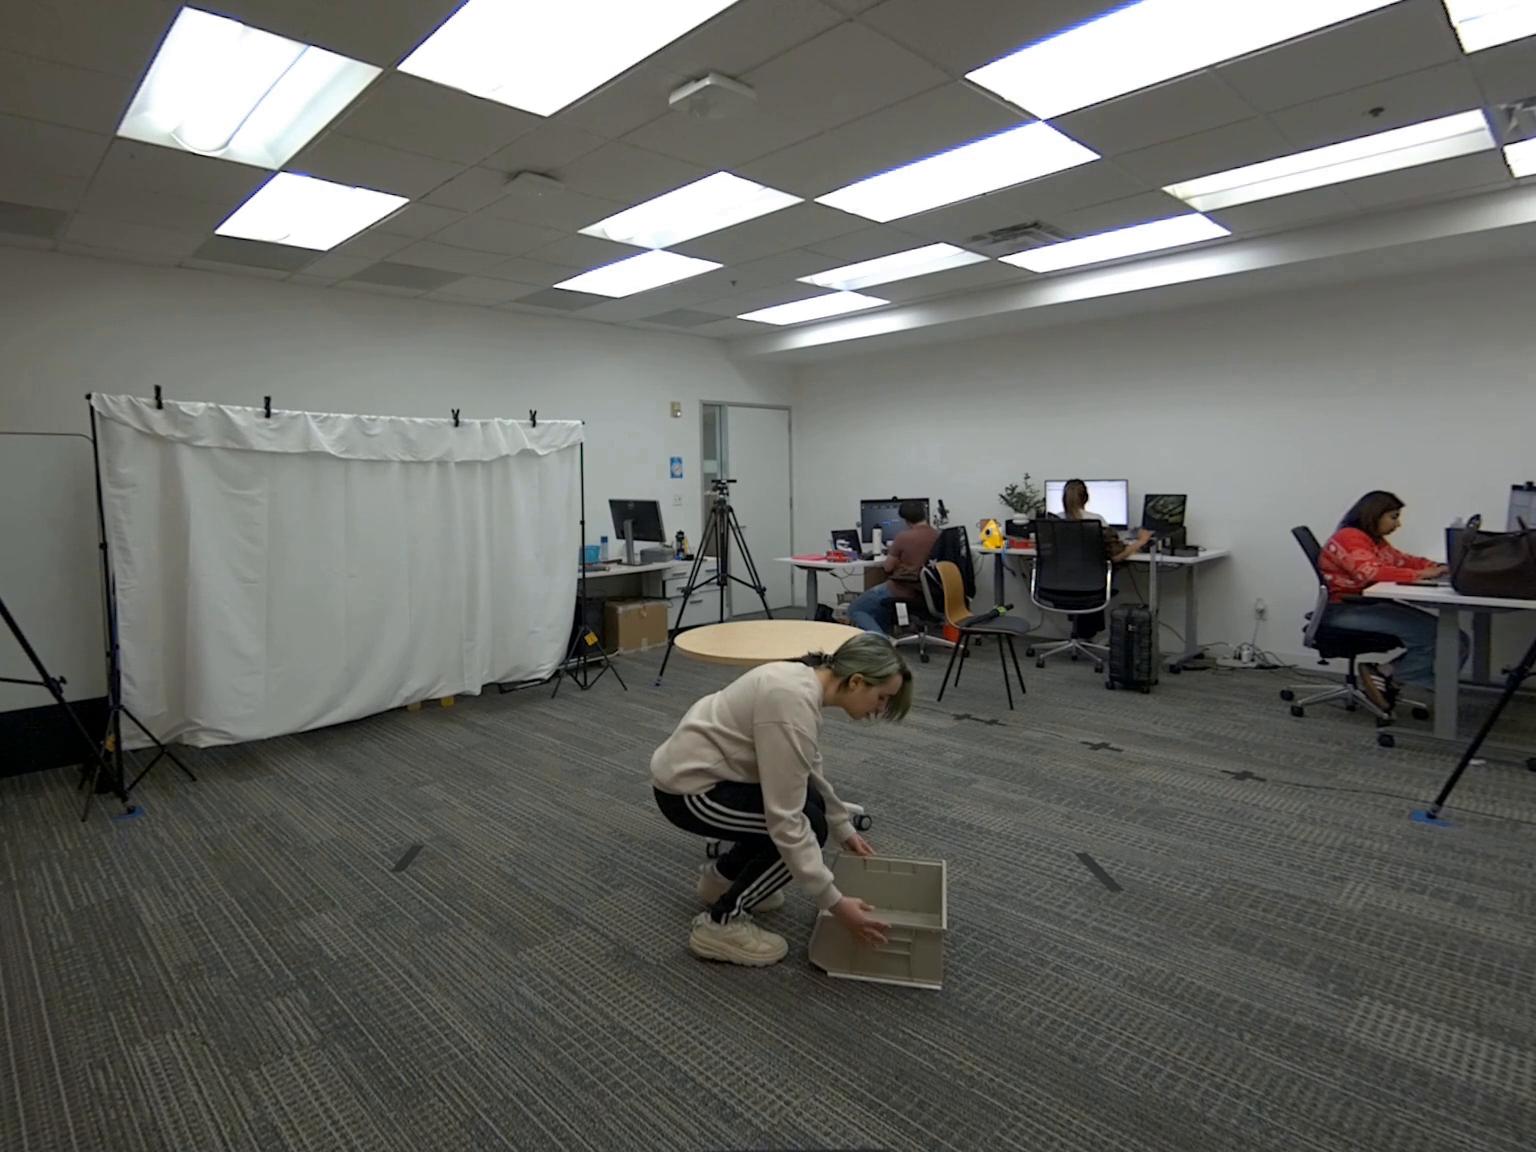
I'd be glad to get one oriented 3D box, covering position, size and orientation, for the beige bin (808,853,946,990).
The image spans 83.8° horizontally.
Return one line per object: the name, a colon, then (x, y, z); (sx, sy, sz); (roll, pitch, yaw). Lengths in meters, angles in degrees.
beige bin: (0.345, 1.013, 2.552); (0.383, 0.188, 0.418); (3, 6, 13)
